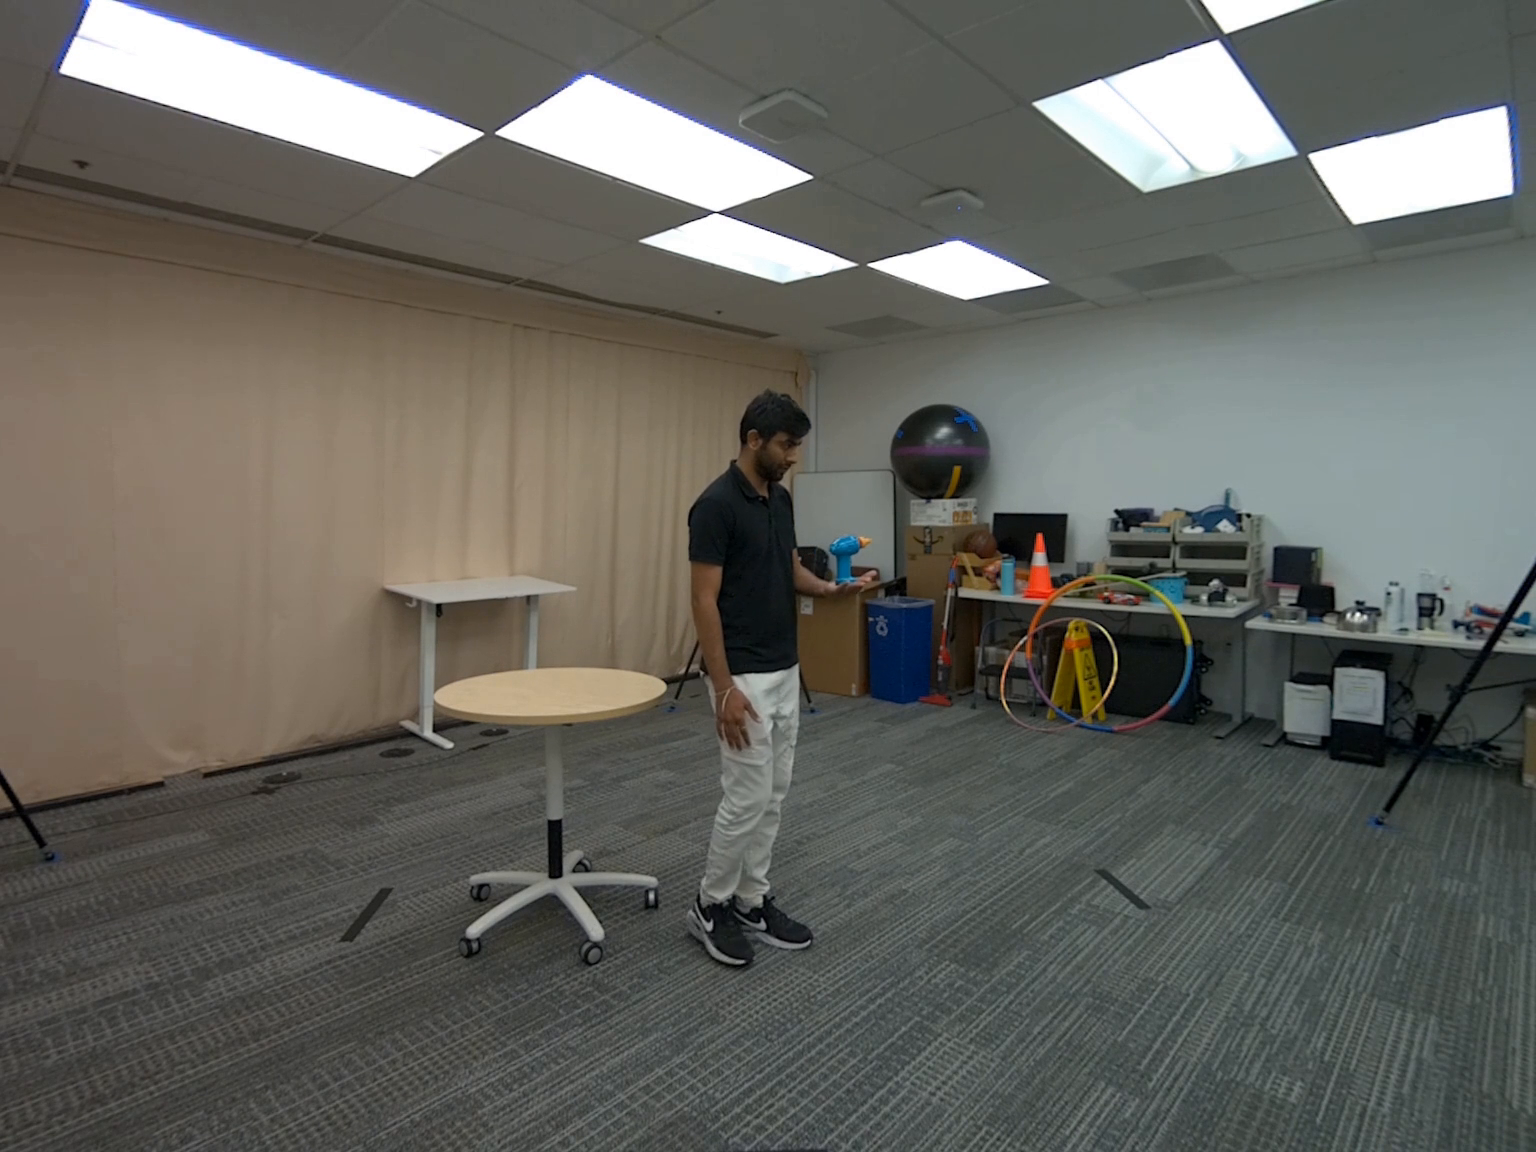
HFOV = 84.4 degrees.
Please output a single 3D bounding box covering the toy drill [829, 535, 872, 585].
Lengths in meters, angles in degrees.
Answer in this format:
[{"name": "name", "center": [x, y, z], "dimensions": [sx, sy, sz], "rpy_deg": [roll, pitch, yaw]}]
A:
[{"name": "toy drill", "center": [0.244, -0.054, 2.524], "dimensions": [0.165, 0.145, 0.063], "rpy_deg": [-16, 15, -38]}]
